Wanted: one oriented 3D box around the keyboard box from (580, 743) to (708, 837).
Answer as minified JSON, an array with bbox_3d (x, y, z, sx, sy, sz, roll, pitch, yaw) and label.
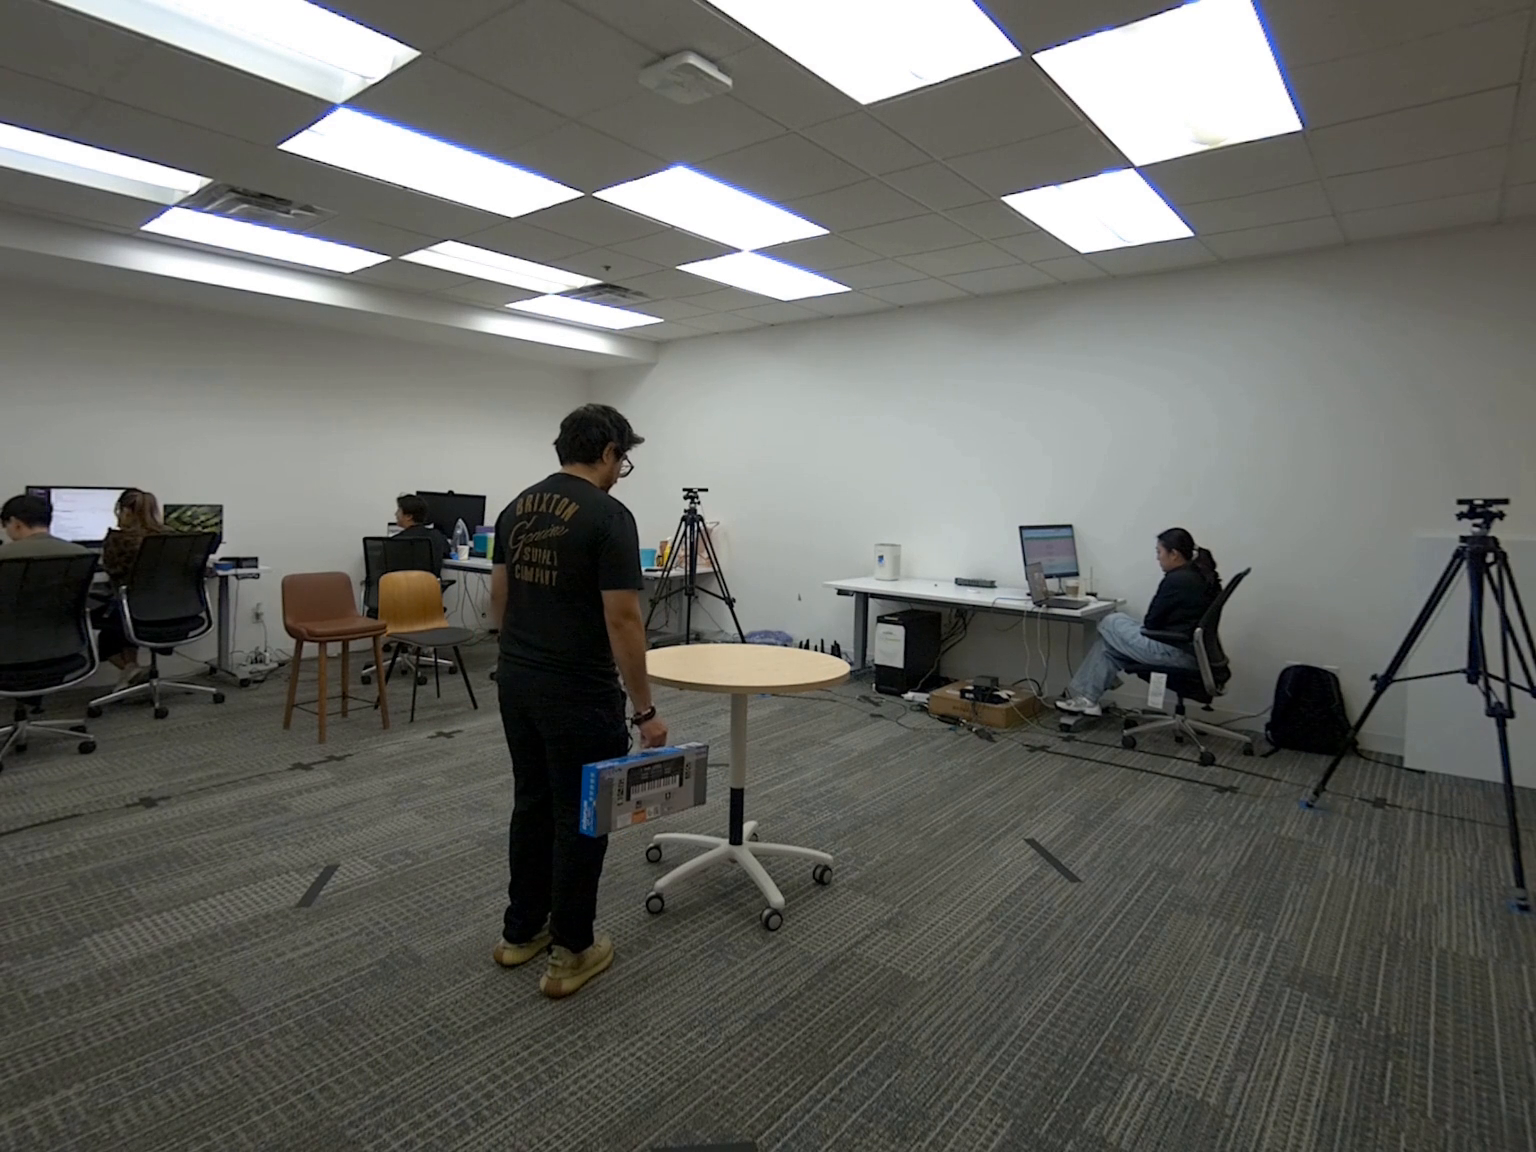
[{"bbox_3d":[-0.332,0.568,2.310,0.061,0.176,0.423,1,0,37],"label":"keyboard box"}]
